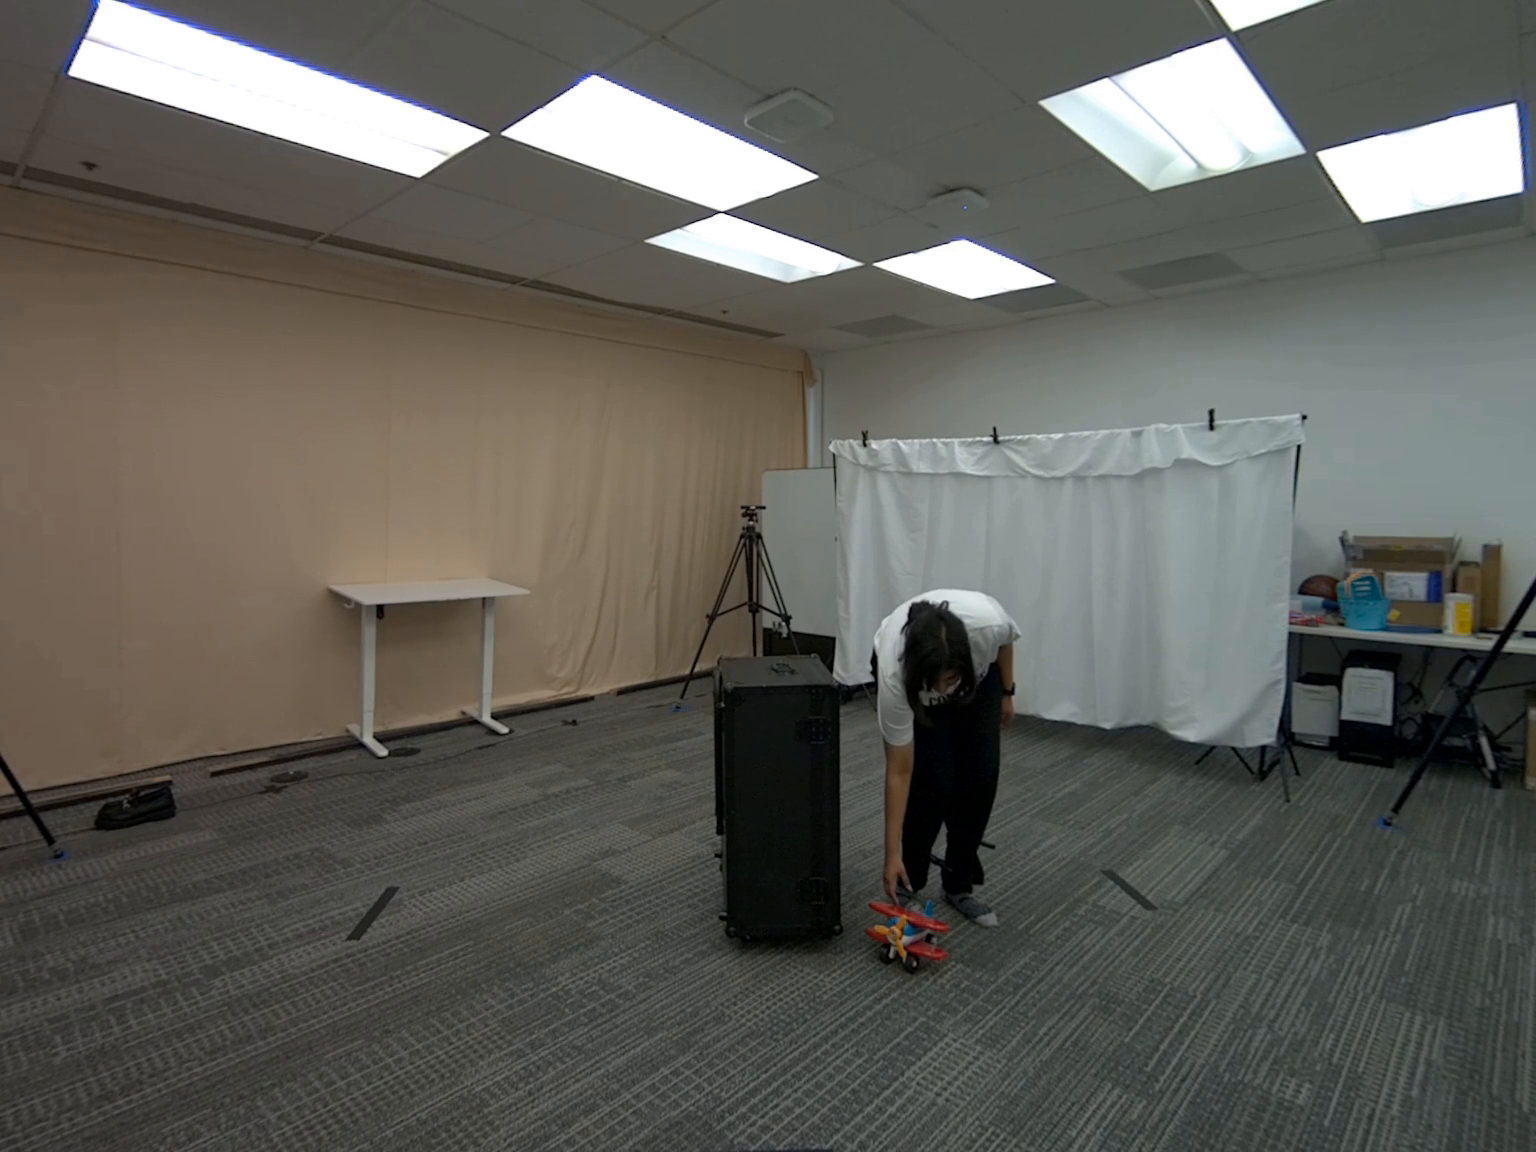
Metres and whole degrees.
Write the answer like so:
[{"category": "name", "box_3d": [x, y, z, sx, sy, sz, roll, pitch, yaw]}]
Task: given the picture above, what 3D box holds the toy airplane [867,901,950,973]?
[{"category": "toy airplane", "box_3d": [0.436, 1.108, 2.600, 0.254, 0.156, 0.257, 2, 7, 11]}]
